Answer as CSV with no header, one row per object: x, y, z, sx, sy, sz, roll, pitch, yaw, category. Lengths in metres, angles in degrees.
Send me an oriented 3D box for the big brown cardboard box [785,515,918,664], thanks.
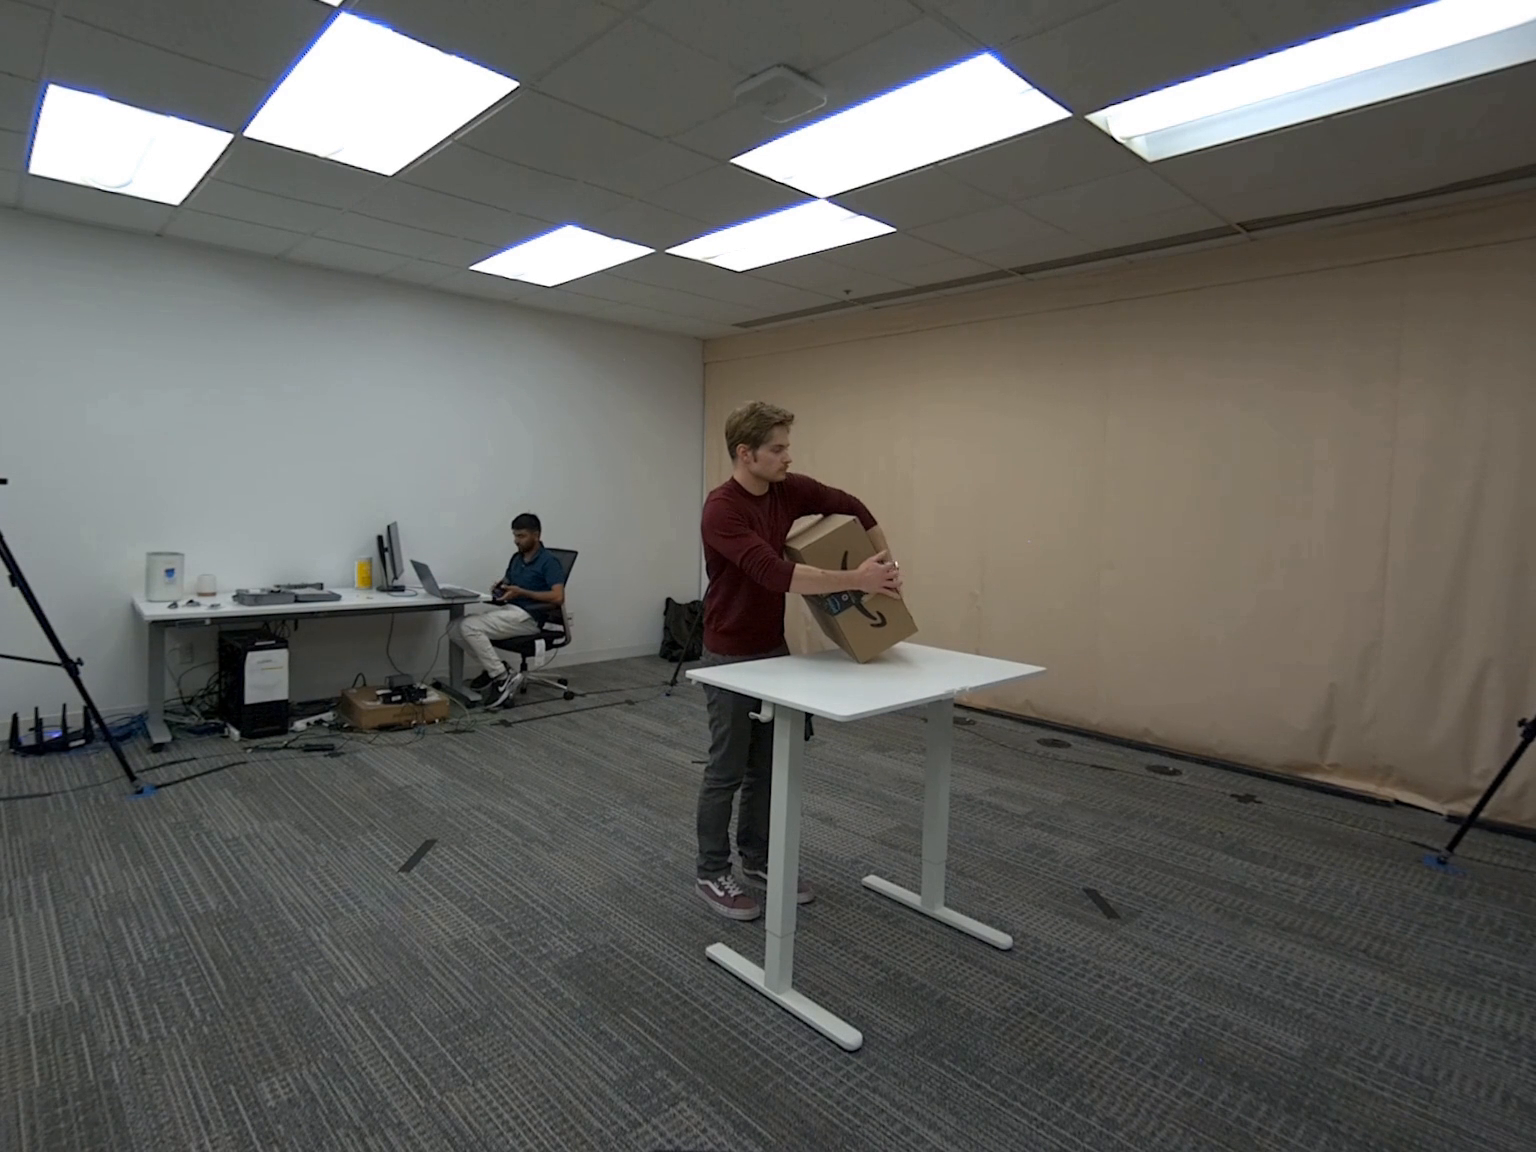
0.233,0.024,2.905,0.233,0.414,0.594,-29,9,-2,big brown cardboard box
